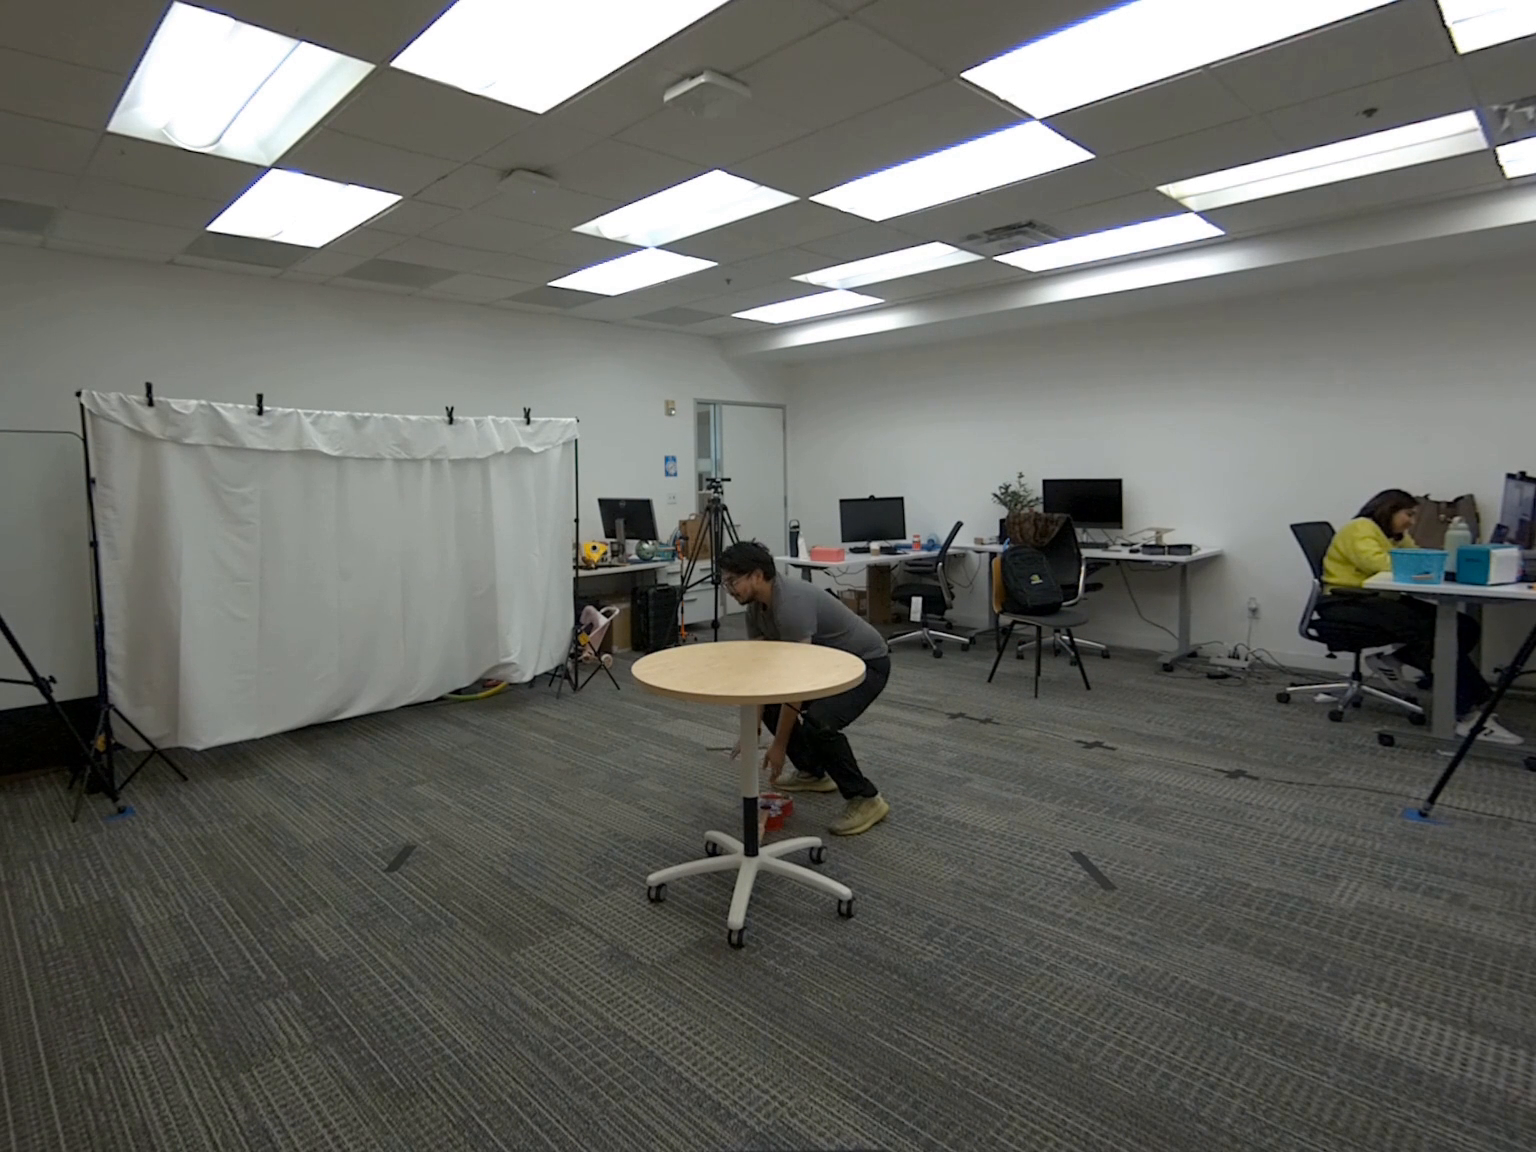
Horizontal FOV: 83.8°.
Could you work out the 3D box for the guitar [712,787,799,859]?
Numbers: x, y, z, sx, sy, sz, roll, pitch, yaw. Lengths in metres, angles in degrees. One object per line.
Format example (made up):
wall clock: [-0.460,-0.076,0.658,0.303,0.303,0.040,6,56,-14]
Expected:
guitar: [-0.042,0.968,3.402,0.196,0.070,0.491,1,7,18]
